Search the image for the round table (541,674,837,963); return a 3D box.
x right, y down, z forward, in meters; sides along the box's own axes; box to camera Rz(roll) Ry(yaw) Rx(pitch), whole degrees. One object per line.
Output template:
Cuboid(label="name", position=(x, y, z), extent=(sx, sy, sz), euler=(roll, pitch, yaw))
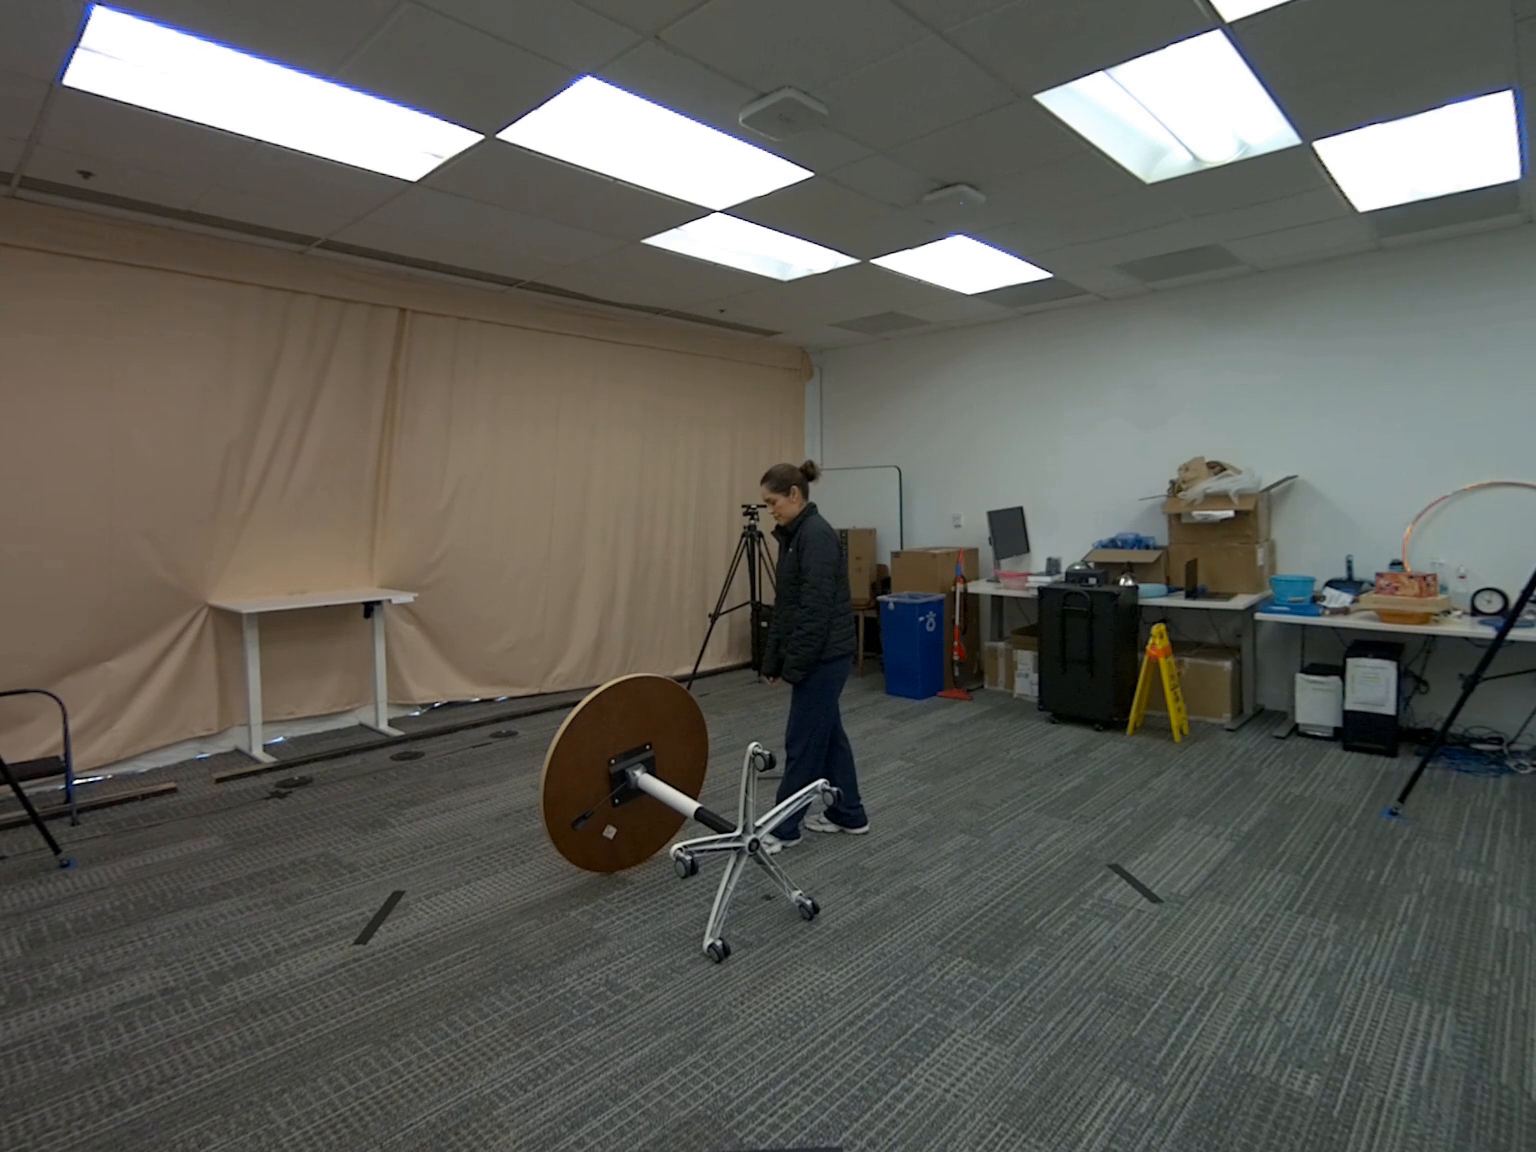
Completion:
Cuboid(label="round table", position=(-0.252, 0.812, 2.923), extent=(0.761, 0.781, 0.814), euler=(-4, 10, -42))
